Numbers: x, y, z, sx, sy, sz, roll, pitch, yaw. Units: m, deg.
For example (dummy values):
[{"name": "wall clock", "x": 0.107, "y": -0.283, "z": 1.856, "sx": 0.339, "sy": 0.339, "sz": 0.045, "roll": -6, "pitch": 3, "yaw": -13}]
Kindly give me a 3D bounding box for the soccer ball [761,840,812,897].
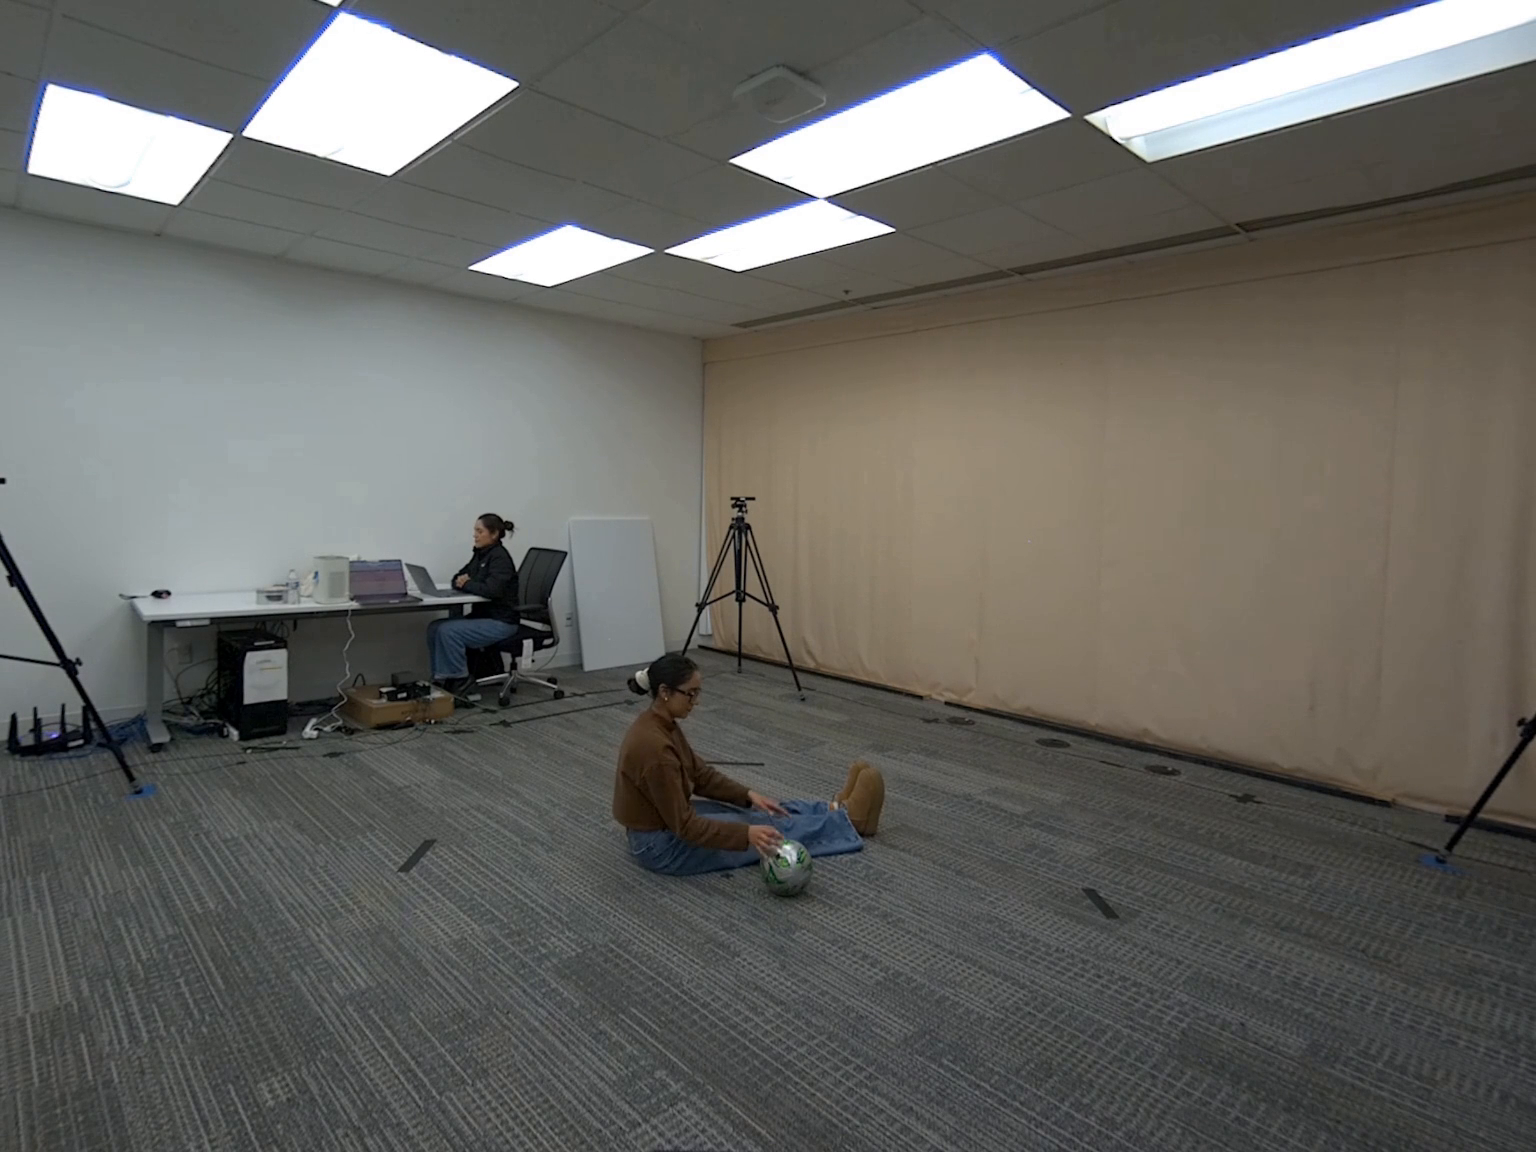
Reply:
[{"name": "soccer ball", "x": 0.062, "y": 1.032, "z": 2.967, "sx": 0.187, "sy": 0.187, "sz": 0.188, "roll": 1, "pitch": 4, "yaw": -1}]
